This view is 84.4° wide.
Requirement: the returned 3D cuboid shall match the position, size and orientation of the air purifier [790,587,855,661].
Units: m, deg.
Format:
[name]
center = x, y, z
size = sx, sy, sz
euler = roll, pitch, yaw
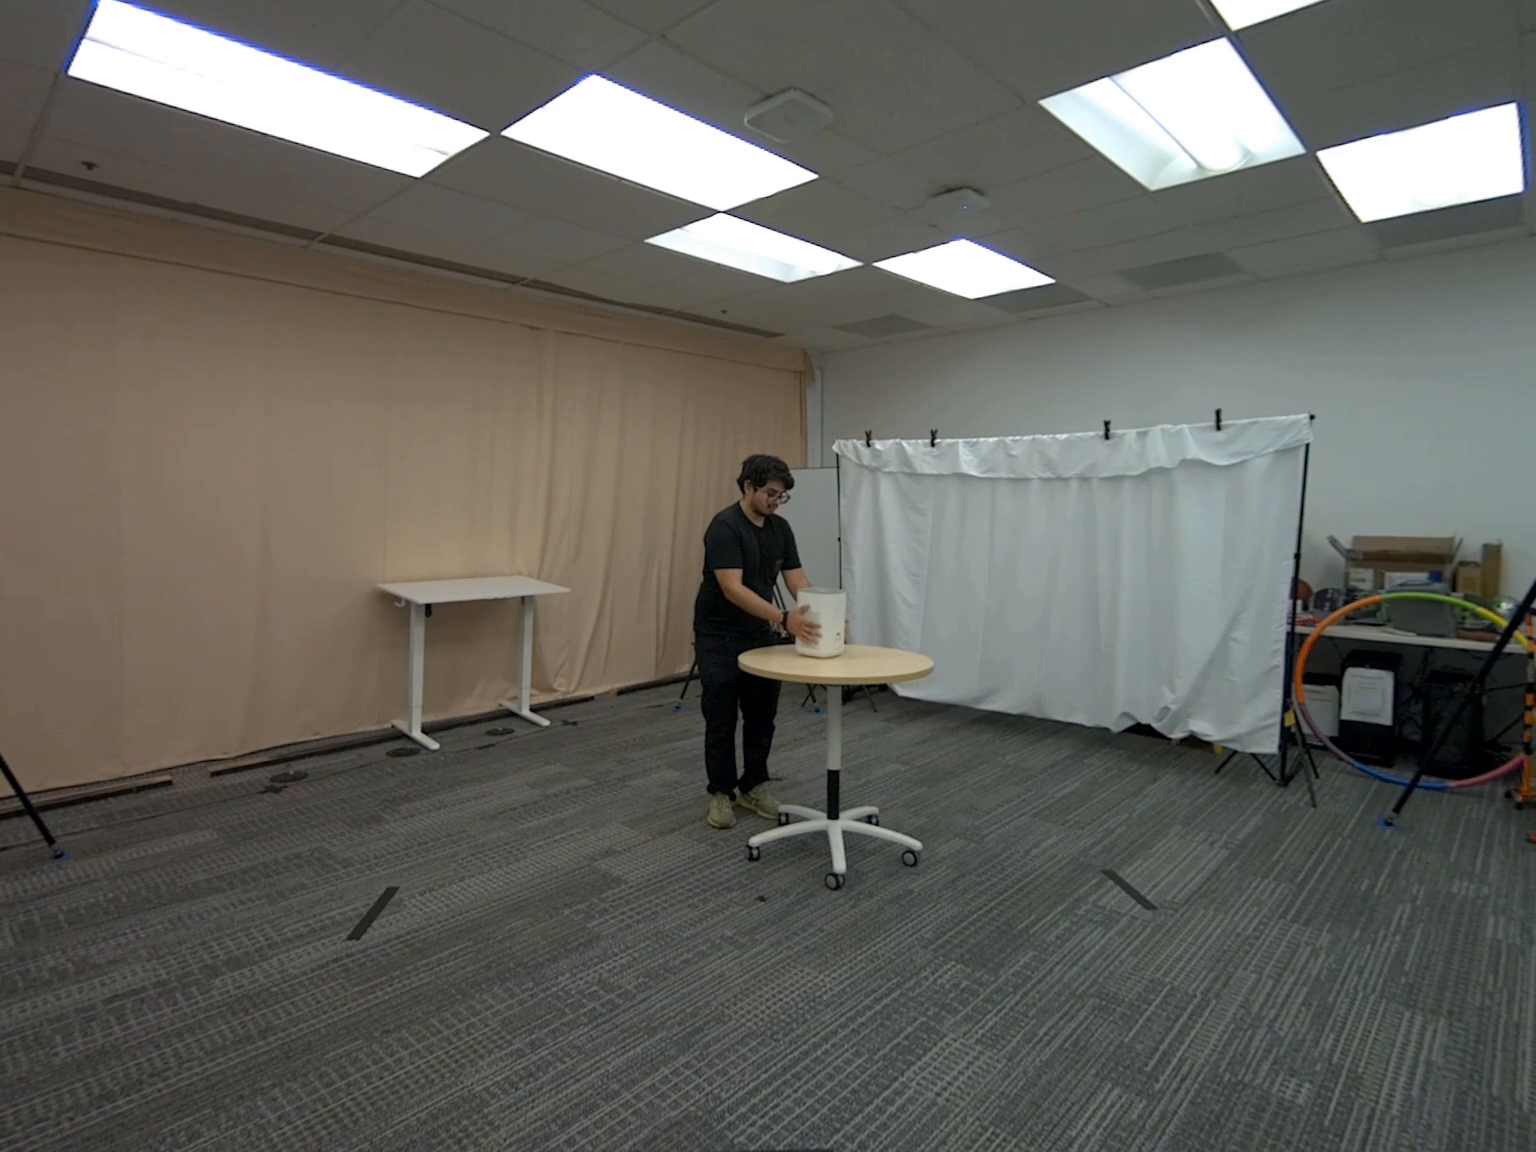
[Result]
[air purifier]
center = 0.219, 0.188, 3.417
size = 0.180, 0.261, 0.163
euler = 6, 4, 39
